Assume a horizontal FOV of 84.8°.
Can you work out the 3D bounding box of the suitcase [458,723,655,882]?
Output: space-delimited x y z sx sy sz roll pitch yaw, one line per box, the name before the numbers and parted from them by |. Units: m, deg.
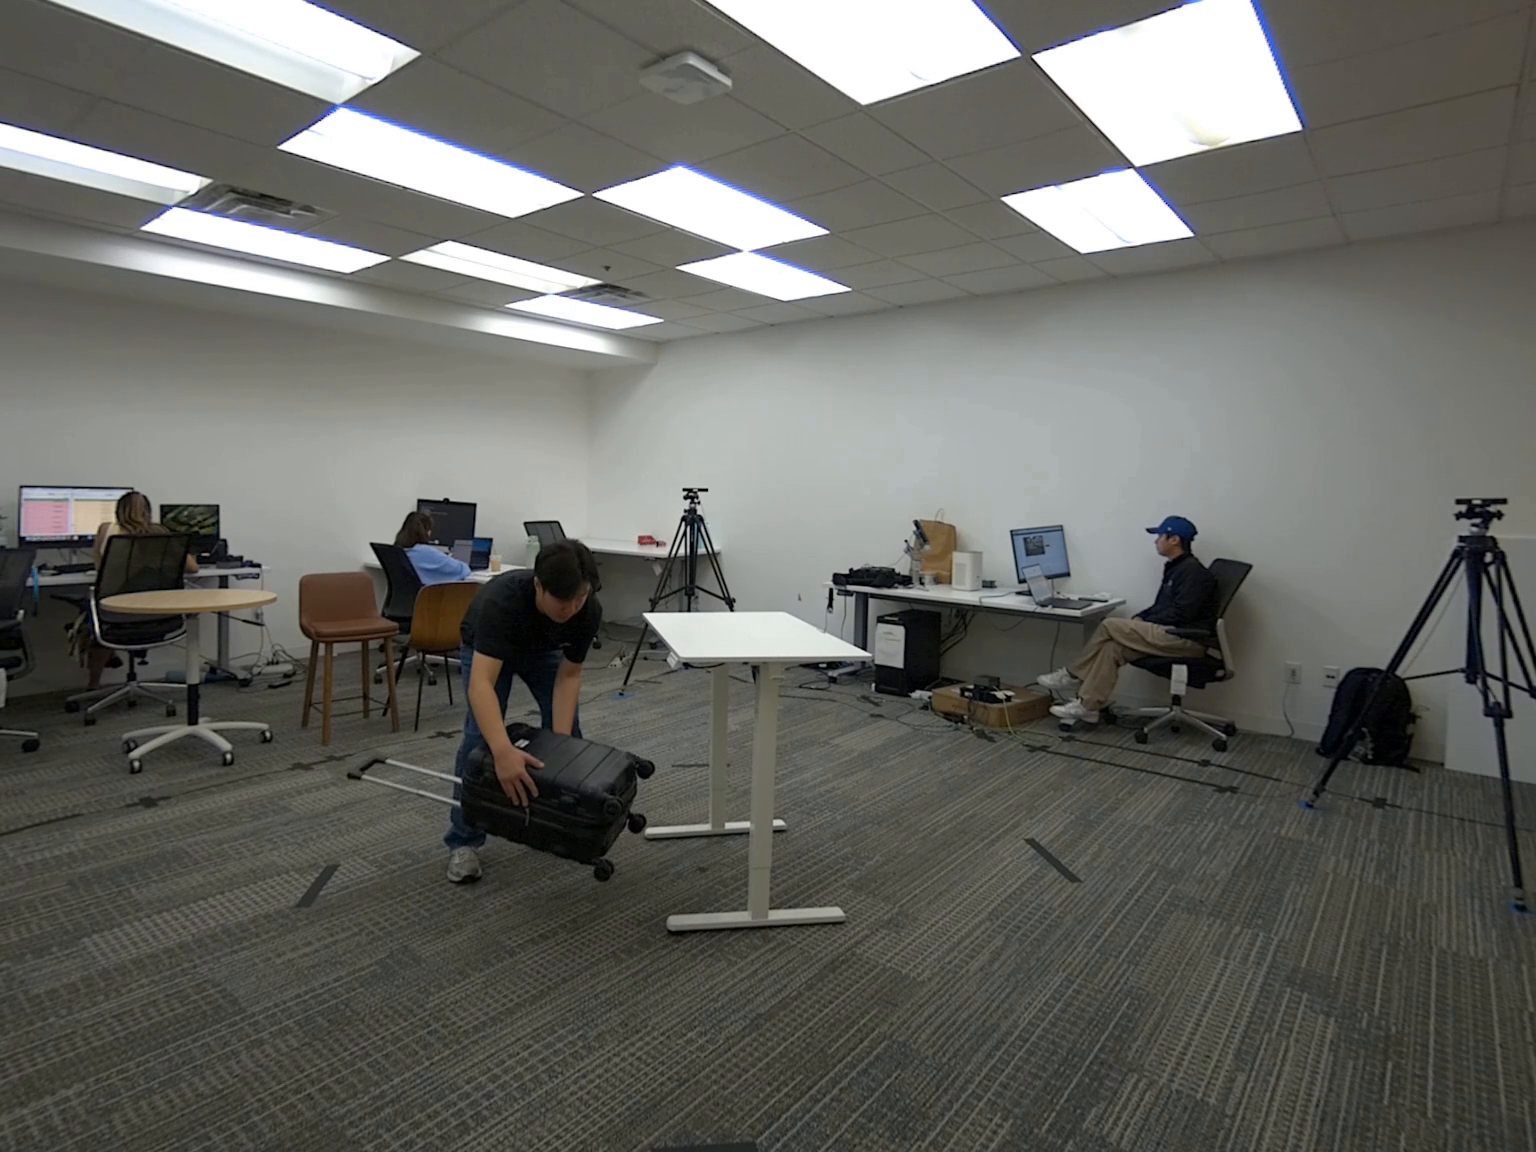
suitcase | -0.889 0.639 2.778 0.993 0.255 0.382 13 13 11
